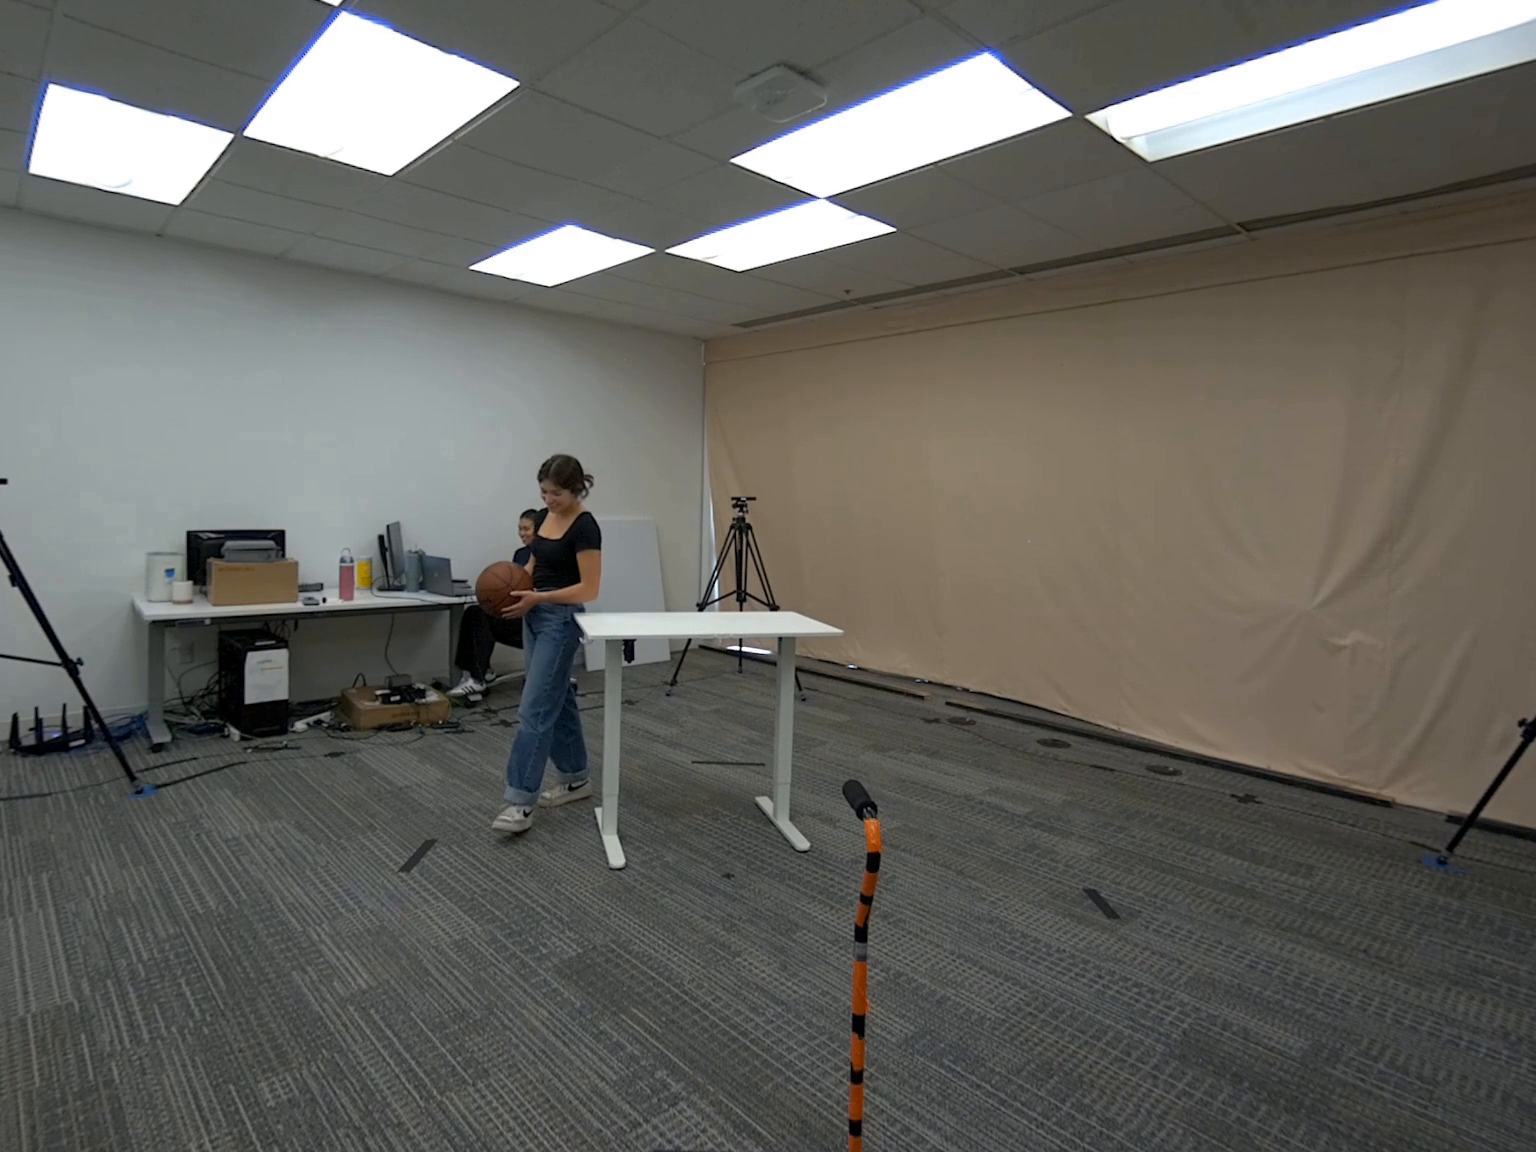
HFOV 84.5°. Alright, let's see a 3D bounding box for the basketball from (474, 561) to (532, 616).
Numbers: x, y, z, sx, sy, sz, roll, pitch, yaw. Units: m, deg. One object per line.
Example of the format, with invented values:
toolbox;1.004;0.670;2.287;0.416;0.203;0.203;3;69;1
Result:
basketball;-1.123;0.053;3.531;0.236;0.235;0.237;1;4;-1
